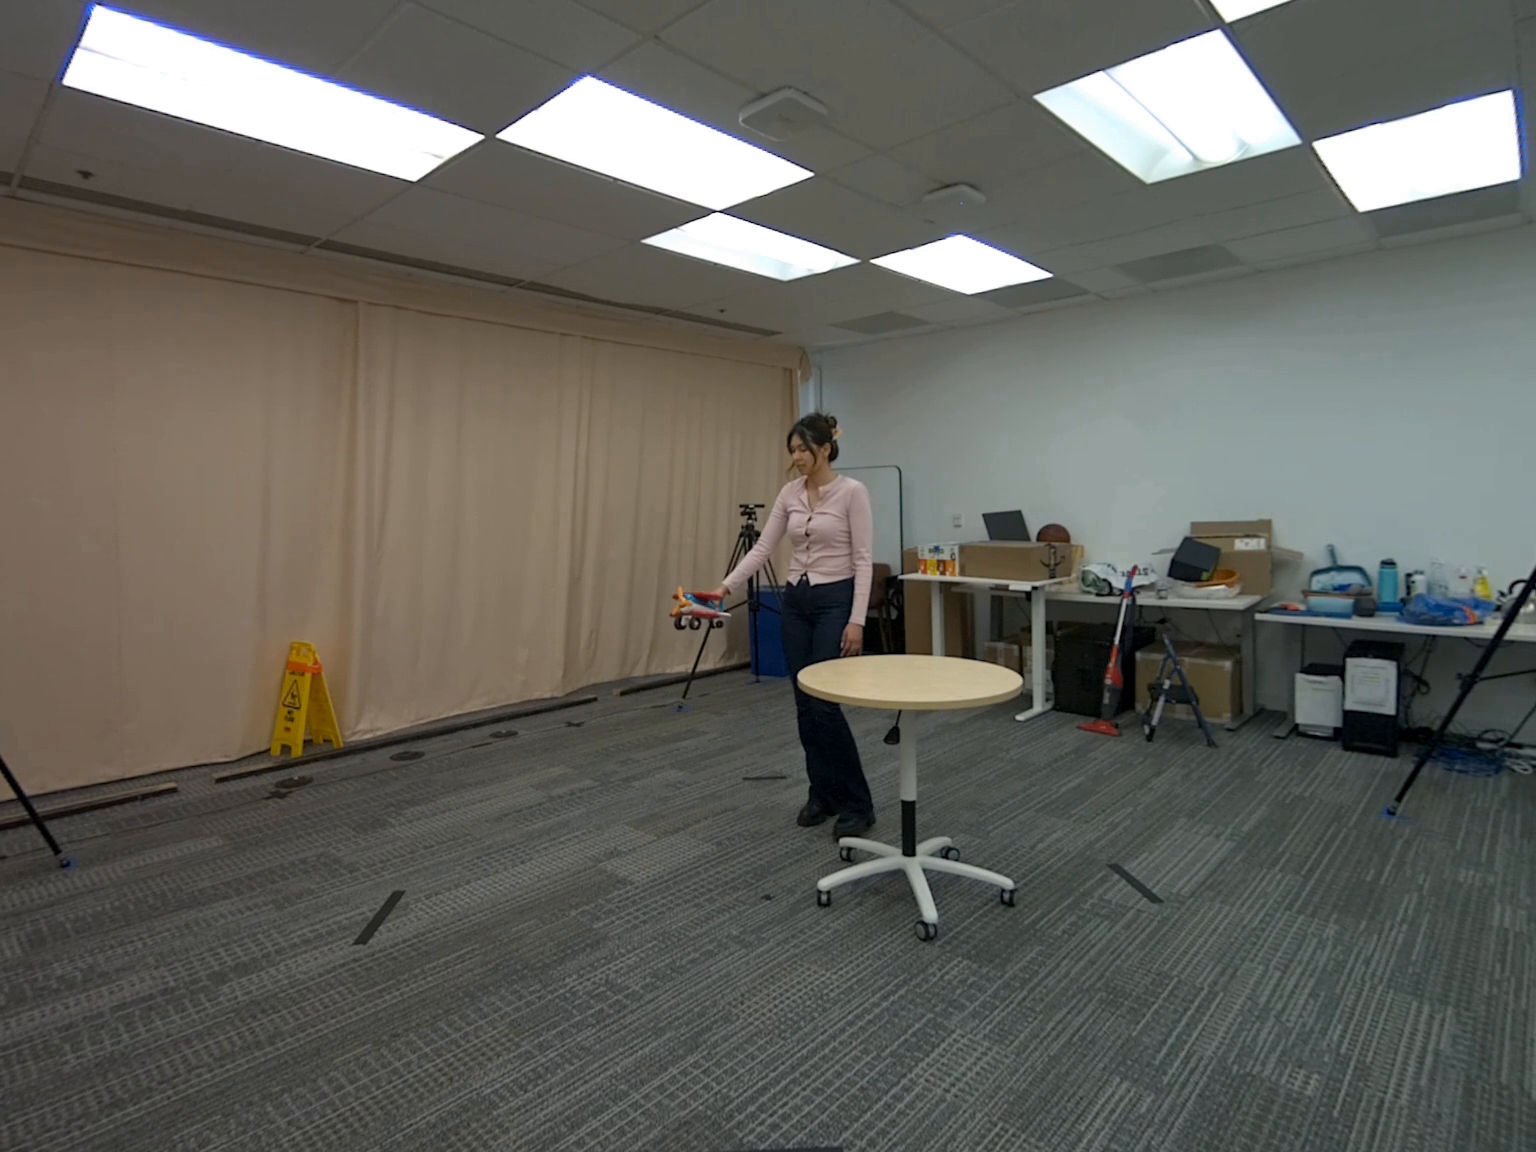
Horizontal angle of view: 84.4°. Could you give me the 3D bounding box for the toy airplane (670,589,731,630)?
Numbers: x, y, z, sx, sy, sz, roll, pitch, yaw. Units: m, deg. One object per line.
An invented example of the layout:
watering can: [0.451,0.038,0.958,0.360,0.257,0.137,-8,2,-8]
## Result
toy airplane: [-0.295,0.151,3.550,0.254,0.156,0.256,-1,-1,10]
